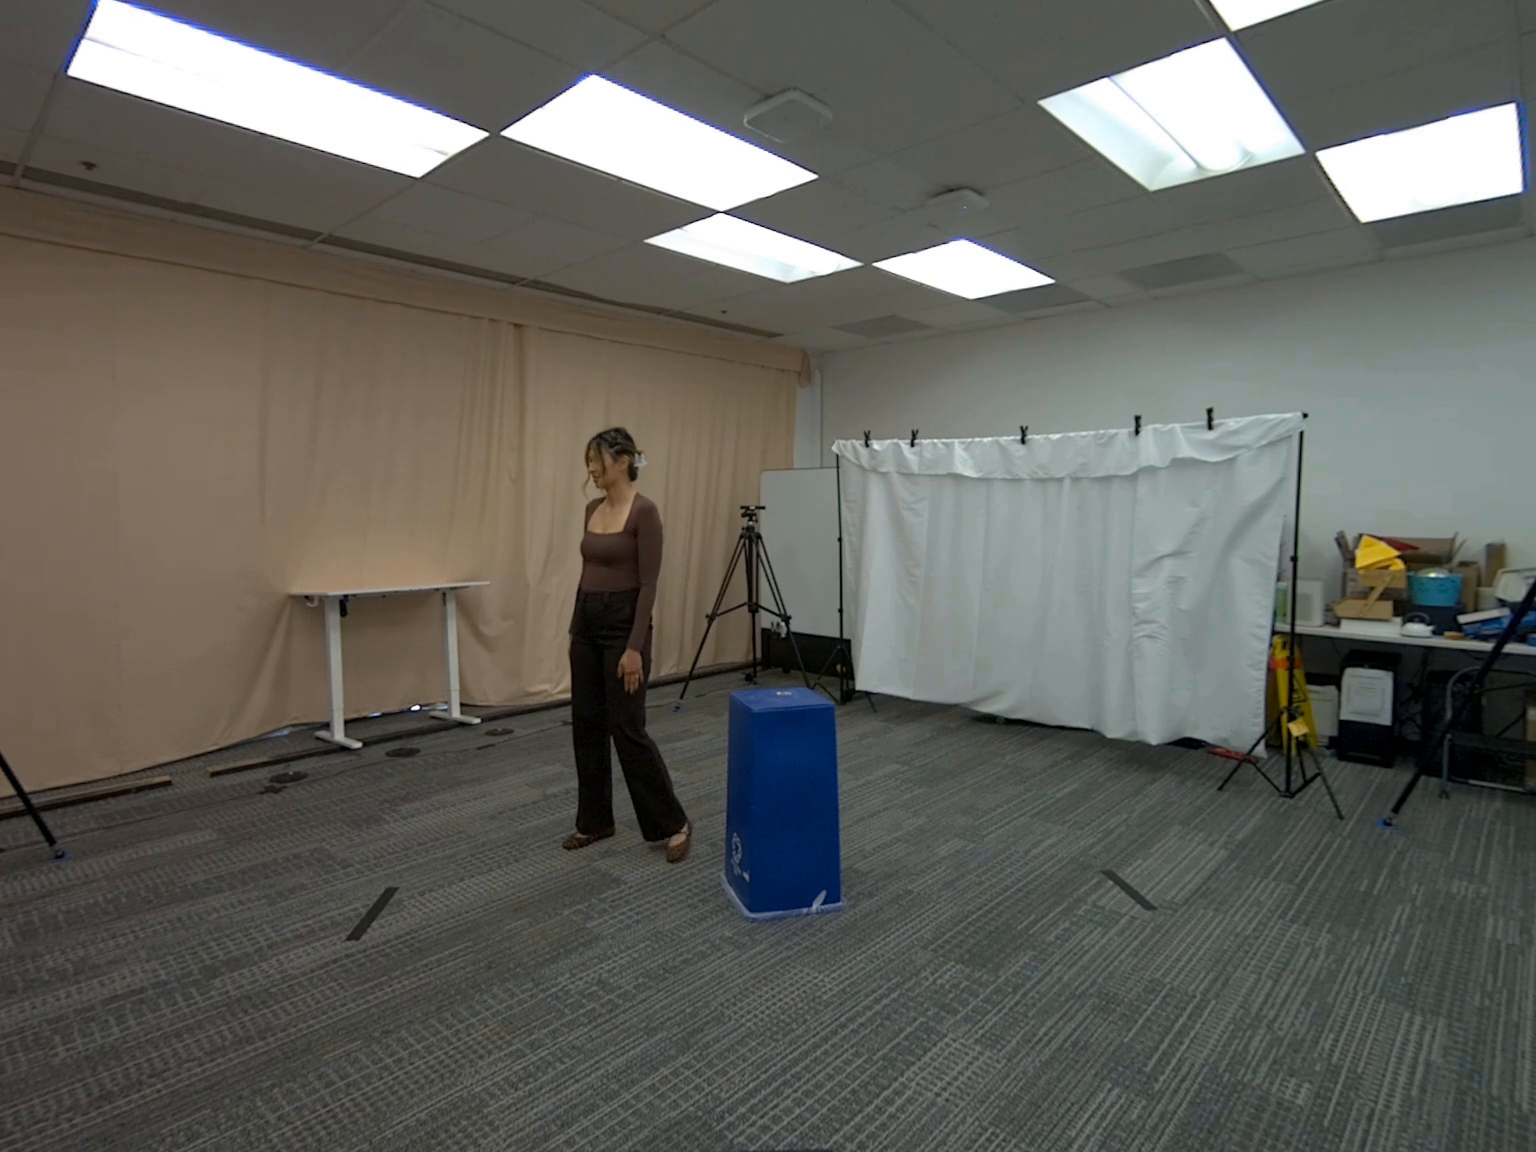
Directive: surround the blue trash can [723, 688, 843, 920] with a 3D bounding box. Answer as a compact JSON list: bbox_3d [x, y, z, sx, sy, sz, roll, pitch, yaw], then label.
[{"bbox_3d":[0.051,0.786,3.019,0.372,0.712,0.381,-1,2,-17],"label":"blue trash can"}]
